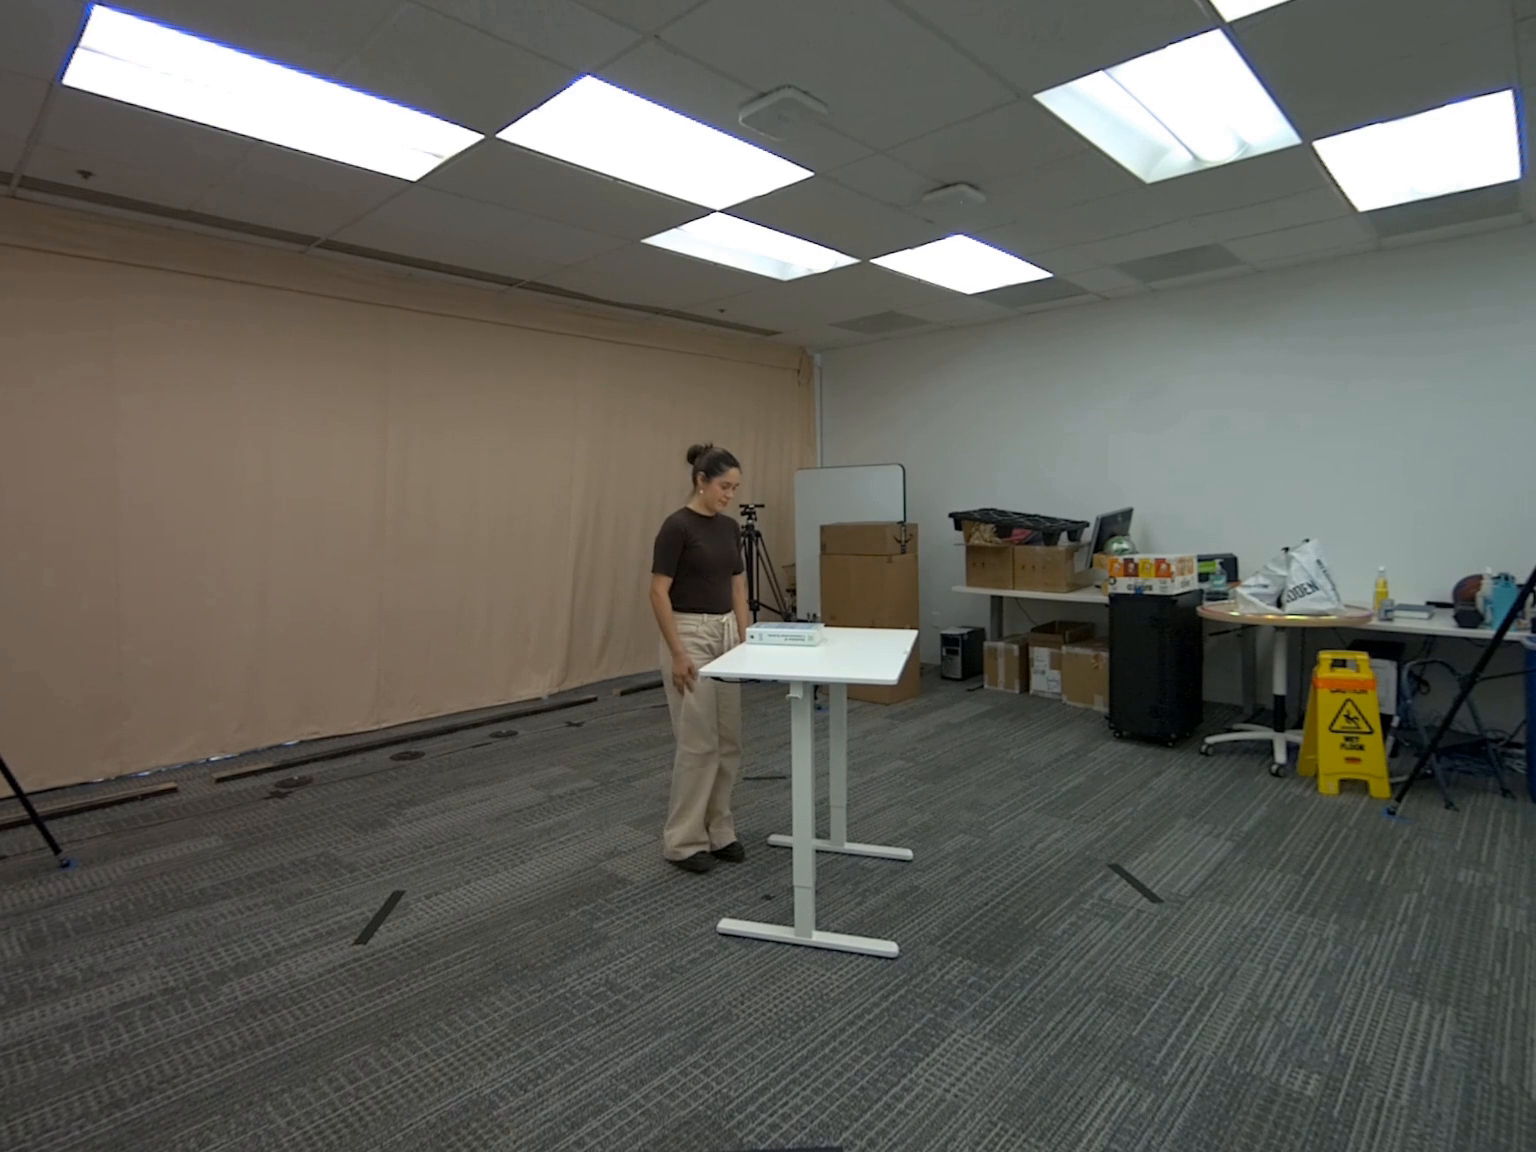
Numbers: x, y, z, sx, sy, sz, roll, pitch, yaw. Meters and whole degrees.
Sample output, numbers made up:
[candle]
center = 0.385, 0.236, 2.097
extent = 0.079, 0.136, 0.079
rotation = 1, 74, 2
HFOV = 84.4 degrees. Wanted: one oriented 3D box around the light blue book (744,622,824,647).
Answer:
[light blue book]
center = 0.070, 0.213, 3.132
extent = 0.265, 0.059, 0.188
rotation = 0, 4, 15
